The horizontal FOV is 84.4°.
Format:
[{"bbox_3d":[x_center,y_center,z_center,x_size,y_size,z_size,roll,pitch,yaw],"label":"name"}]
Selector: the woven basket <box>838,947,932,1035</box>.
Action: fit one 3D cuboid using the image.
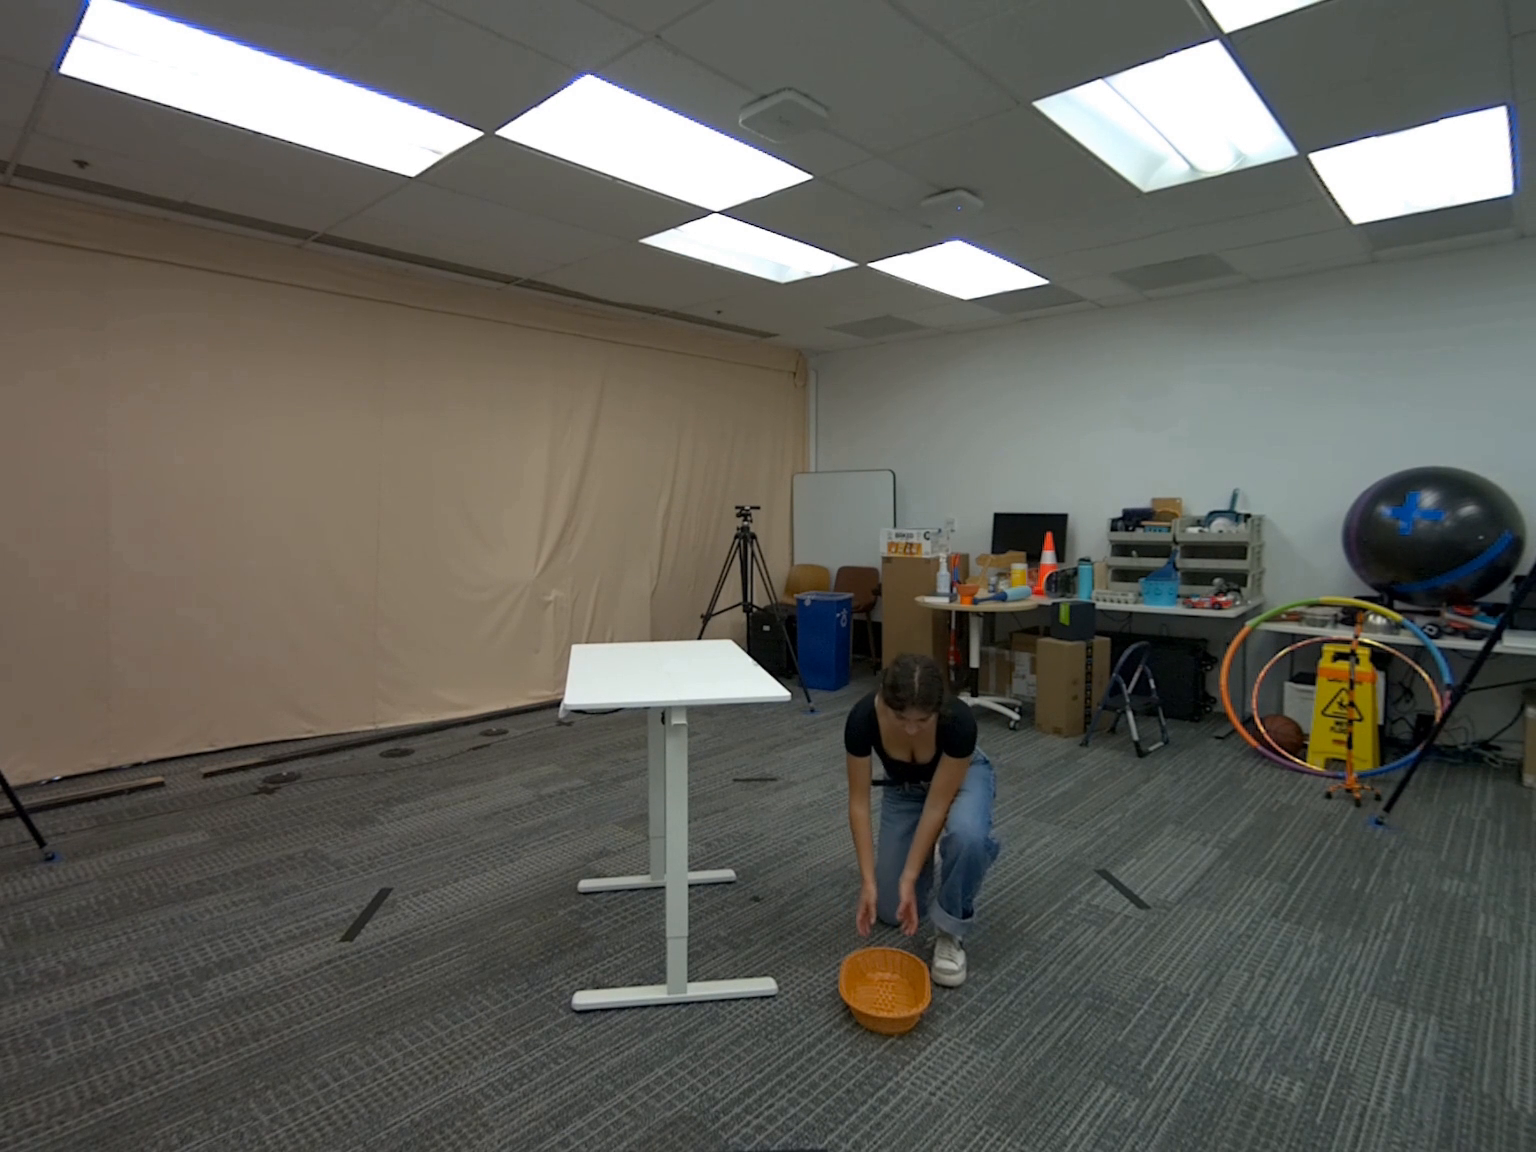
[{"bbox_3d":[0.331,1.155,2.358,0.256,0.073,0.346,-1,5,14],"label":"woven basket"}]
